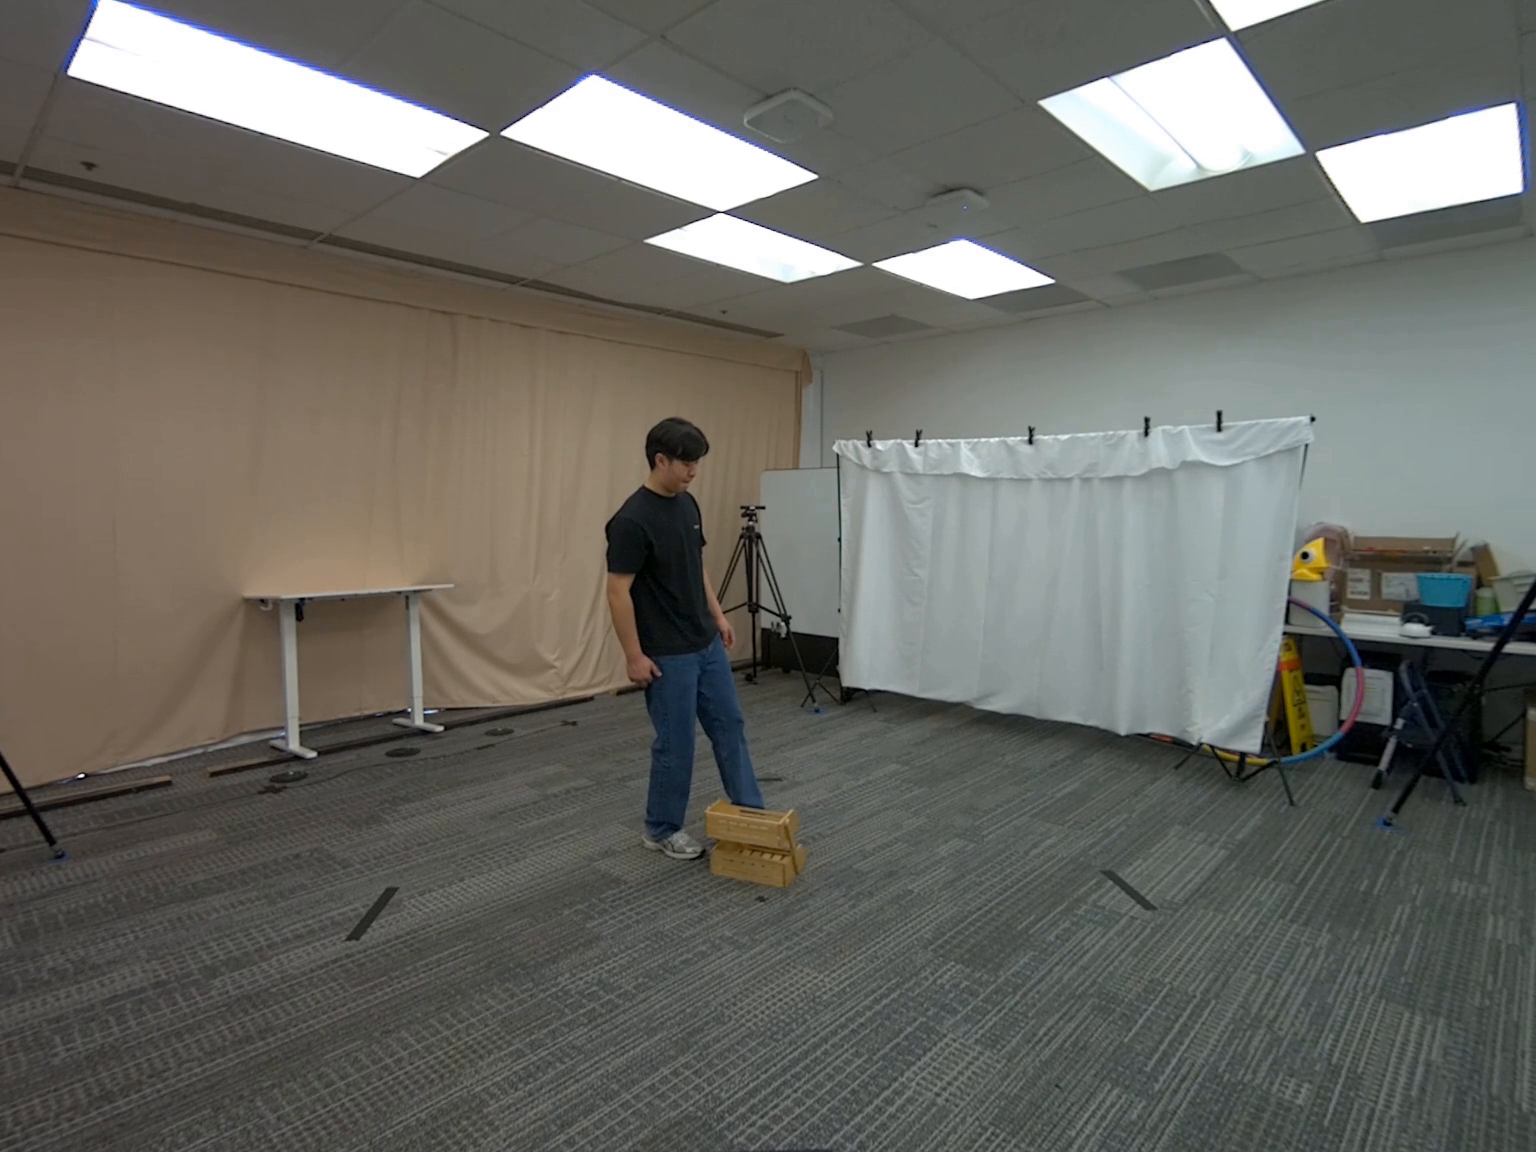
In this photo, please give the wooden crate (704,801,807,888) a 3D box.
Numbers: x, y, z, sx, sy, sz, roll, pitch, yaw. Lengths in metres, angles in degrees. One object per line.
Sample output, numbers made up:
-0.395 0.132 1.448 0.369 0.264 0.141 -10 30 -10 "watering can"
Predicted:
-0.042 0.992 3.205 0.332 0.272 0.296 1 5 23 "wooden crate"
